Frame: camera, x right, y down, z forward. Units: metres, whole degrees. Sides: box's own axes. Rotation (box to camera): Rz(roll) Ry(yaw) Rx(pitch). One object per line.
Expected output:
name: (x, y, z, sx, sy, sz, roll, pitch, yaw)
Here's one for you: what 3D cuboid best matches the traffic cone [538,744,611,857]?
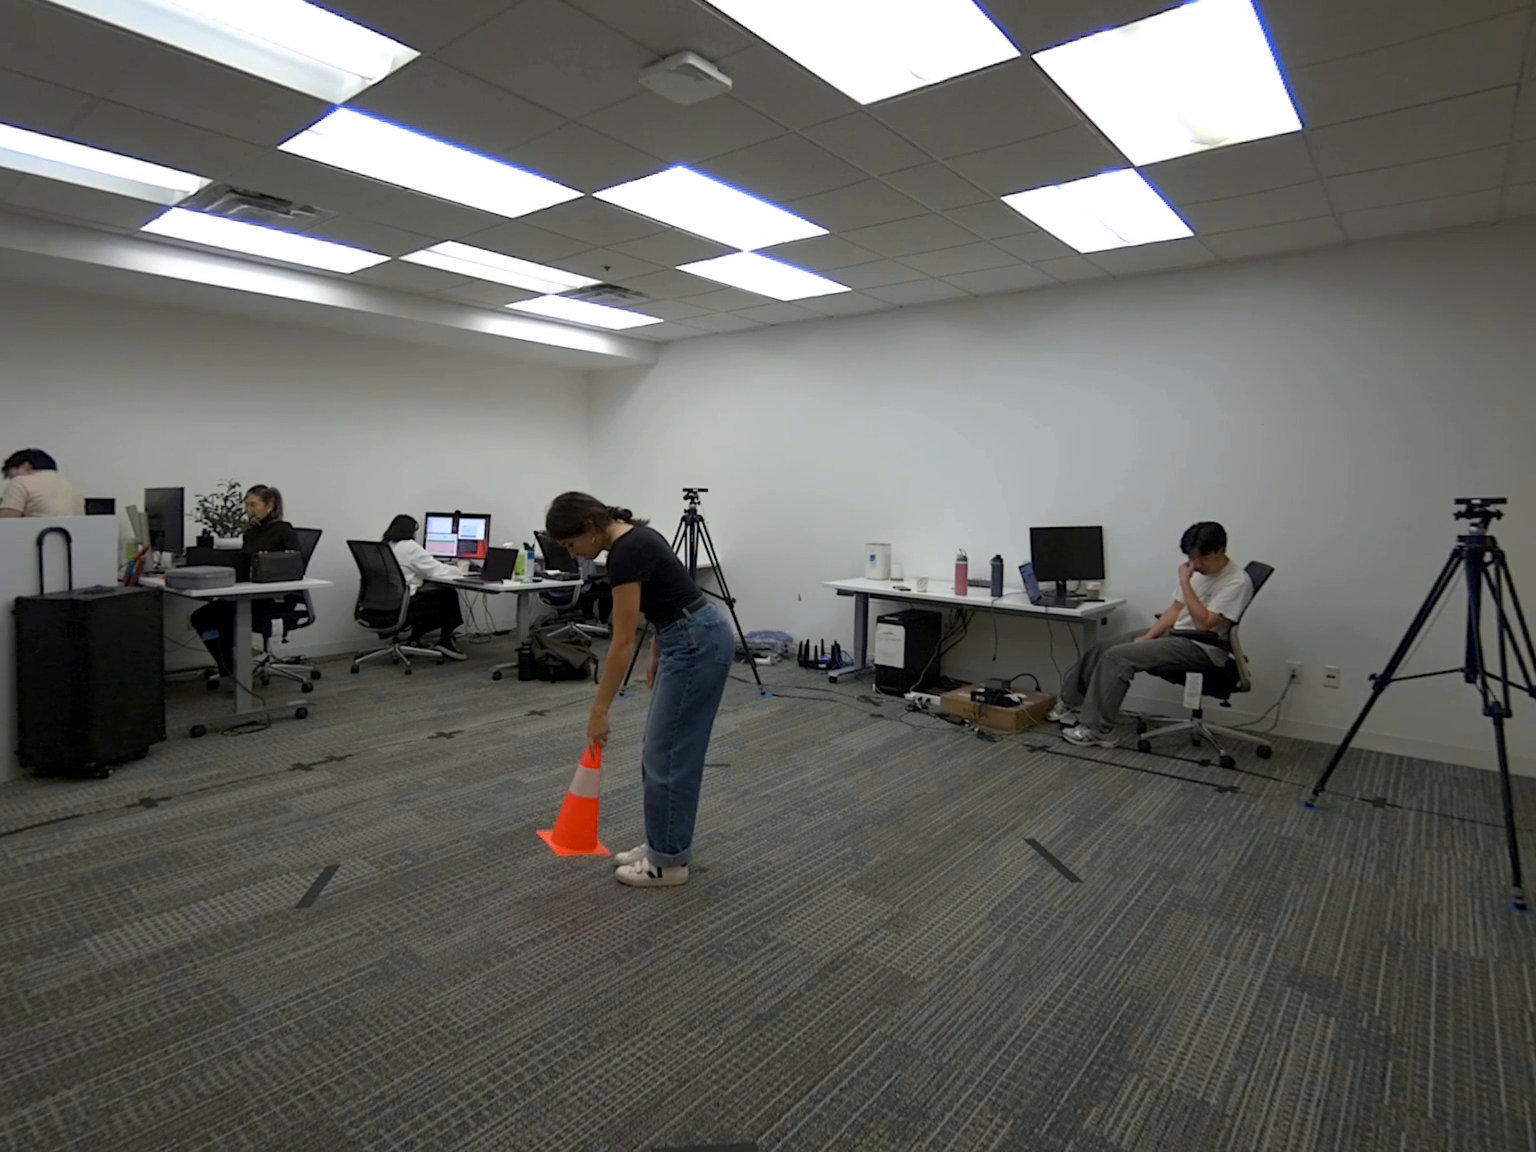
traffic cone: (-0.614, 0.688, 2.826, 0.196, 0.384, 0.212, 12, -2, -36)
